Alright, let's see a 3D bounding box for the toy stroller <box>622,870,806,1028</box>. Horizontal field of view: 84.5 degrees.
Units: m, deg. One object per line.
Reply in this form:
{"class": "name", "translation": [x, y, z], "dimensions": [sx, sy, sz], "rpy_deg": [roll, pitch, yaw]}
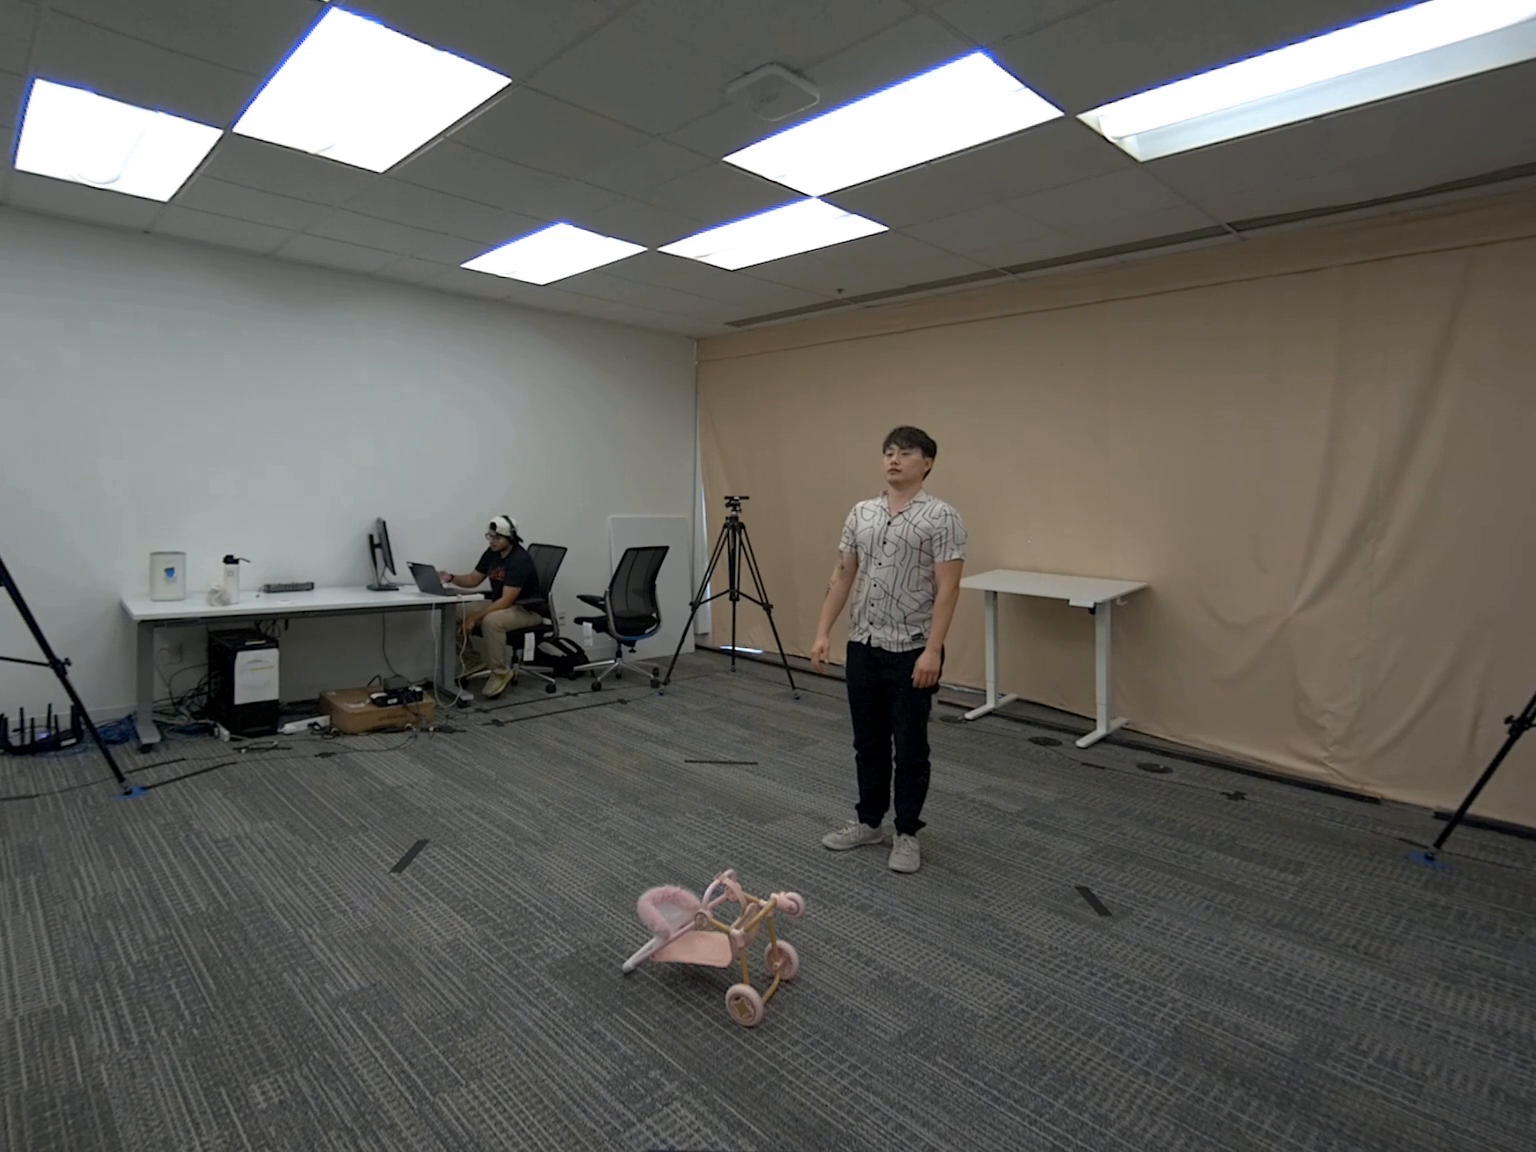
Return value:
{"class": "toy stroller", "translation": [-0.151, 1.010, 2.381], "dimensions": [0.546, 0.339, 0.277], "rpy_deg": [5, 9, 26]}
